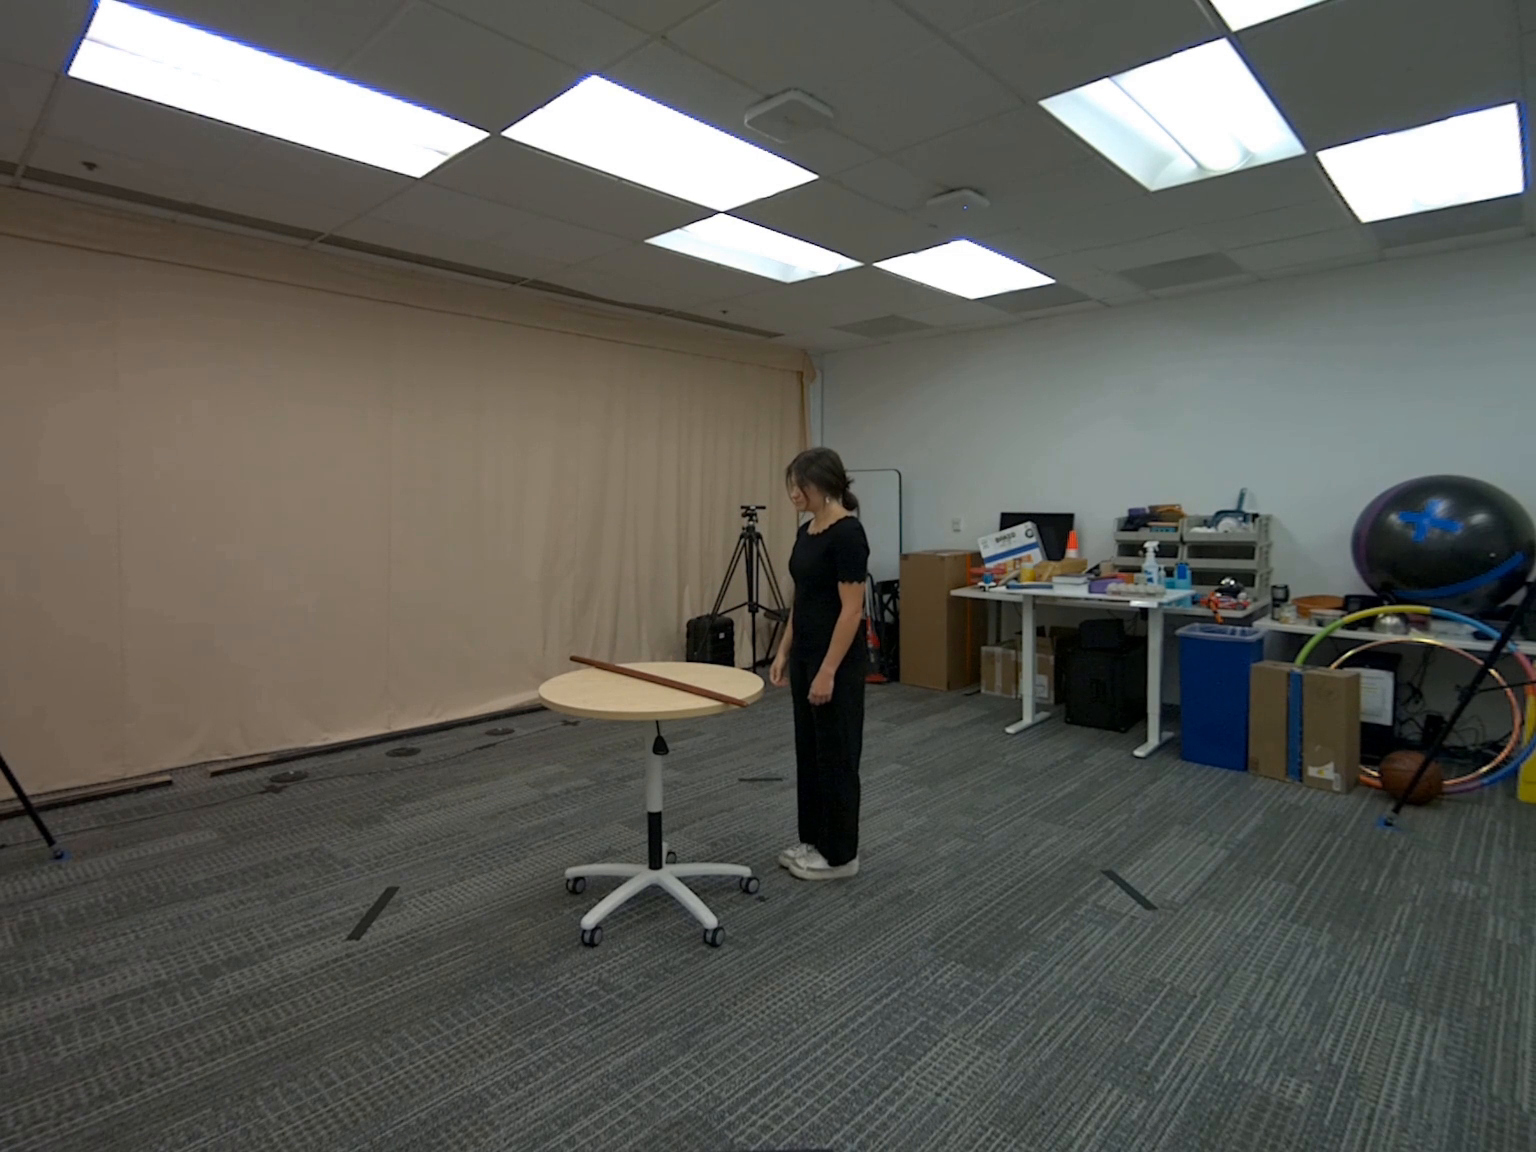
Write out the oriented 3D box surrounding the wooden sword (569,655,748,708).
[{"bbox_3d":[-0.405,0.363,2.931,1.059,0.051,0.023,4,0,44],"label":"wooden sword"}]
